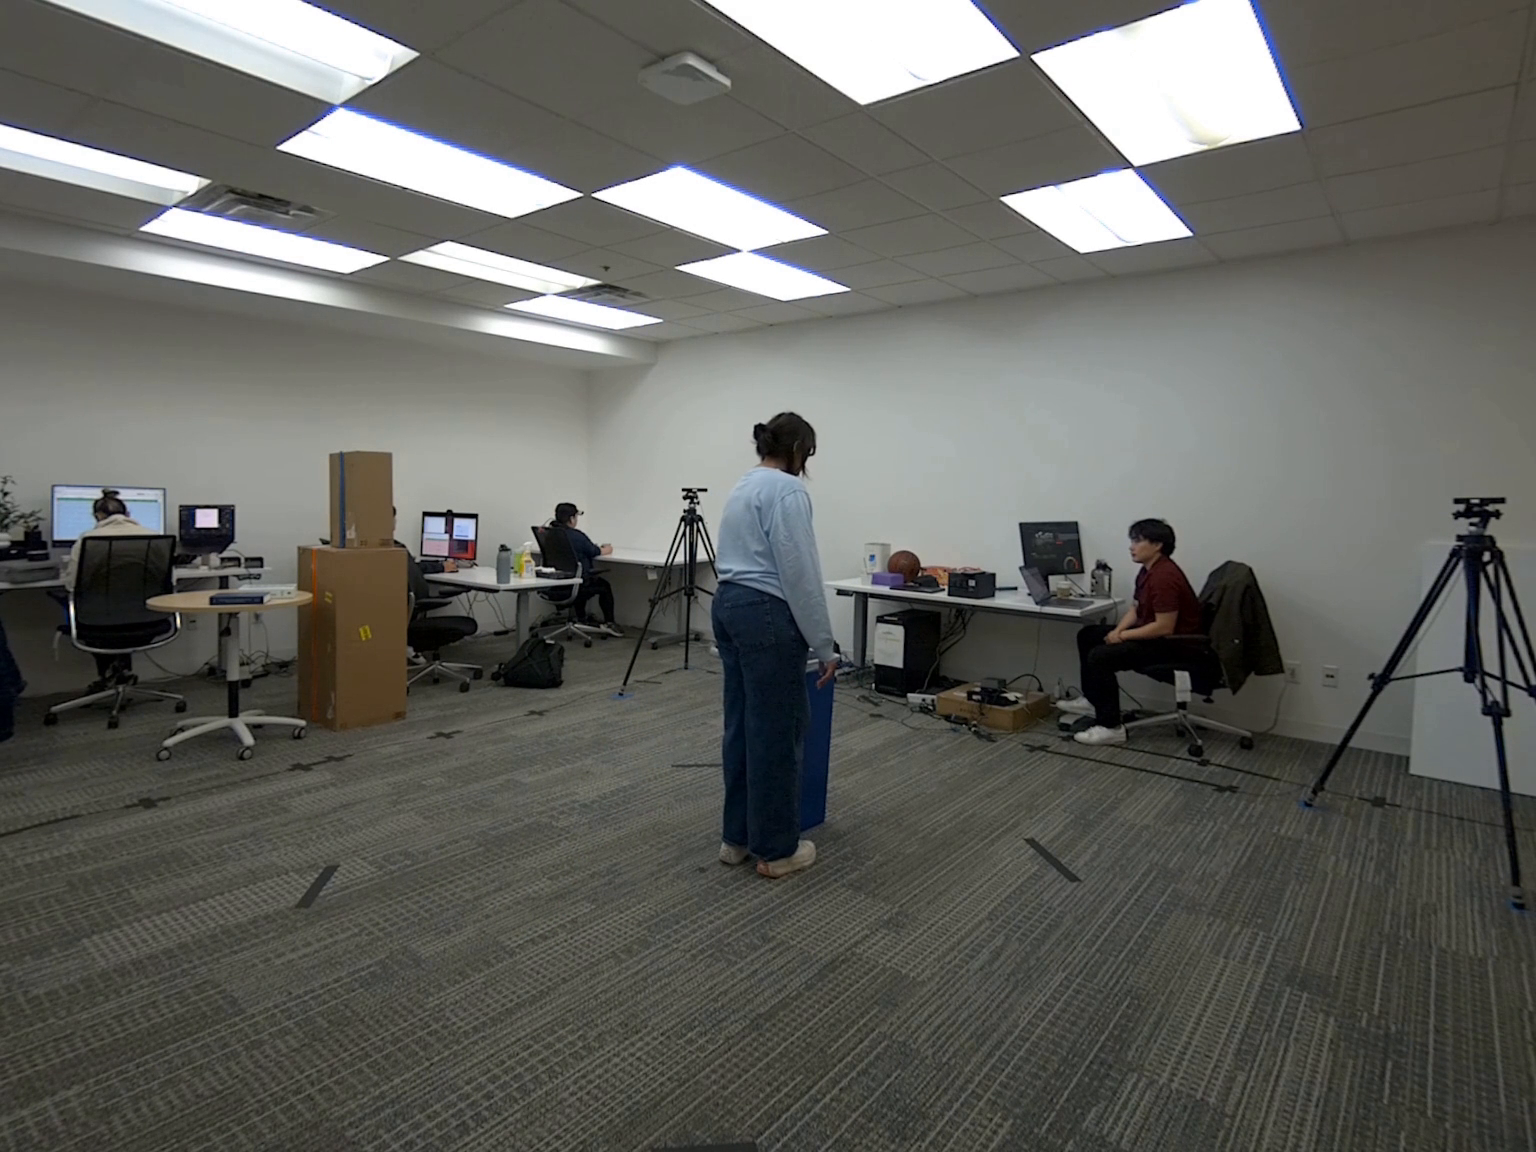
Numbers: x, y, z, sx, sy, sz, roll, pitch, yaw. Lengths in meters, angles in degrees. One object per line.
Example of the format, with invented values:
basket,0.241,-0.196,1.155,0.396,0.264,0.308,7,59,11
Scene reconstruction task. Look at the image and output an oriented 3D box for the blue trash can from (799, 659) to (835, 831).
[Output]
blue trash can,0.041,0.670,3.565,0.387,0.711,0.367,4,4,41
